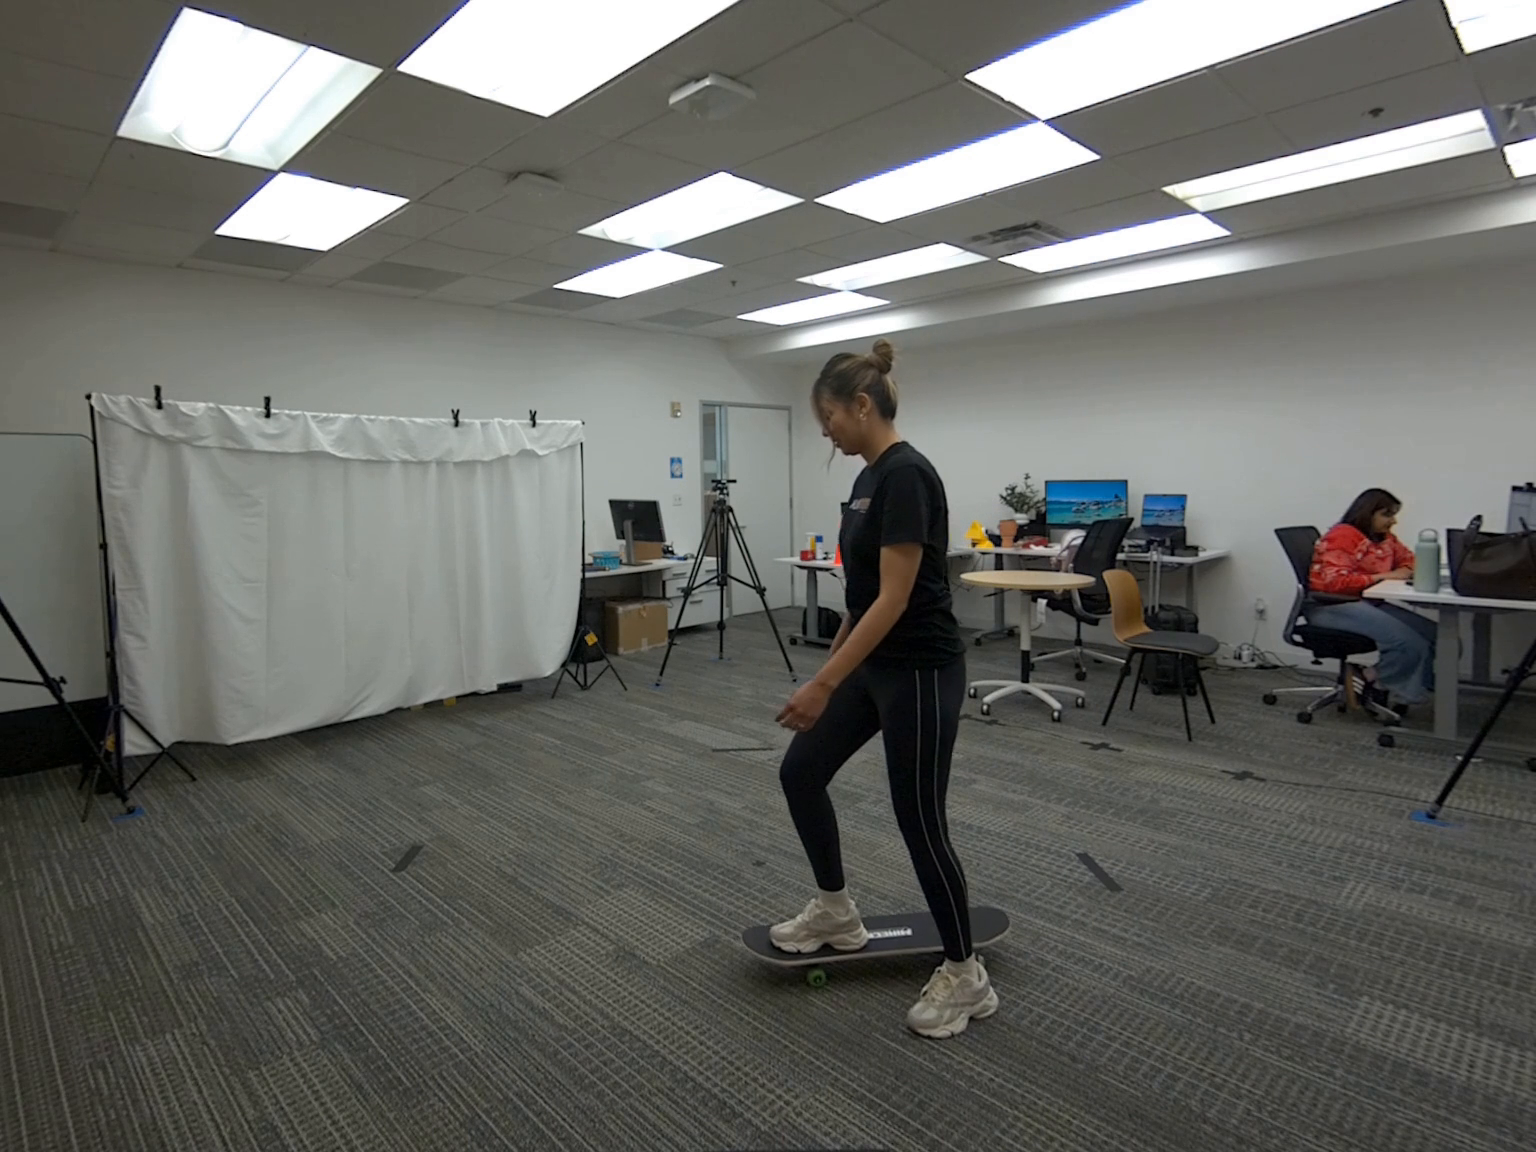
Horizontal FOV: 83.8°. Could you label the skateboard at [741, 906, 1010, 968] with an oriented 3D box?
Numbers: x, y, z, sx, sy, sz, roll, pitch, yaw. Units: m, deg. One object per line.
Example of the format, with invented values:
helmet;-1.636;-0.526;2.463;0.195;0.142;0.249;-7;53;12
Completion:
skateboard;0.324;1.057;2.461;0.780;0.110;0.196;-3;6;-7
